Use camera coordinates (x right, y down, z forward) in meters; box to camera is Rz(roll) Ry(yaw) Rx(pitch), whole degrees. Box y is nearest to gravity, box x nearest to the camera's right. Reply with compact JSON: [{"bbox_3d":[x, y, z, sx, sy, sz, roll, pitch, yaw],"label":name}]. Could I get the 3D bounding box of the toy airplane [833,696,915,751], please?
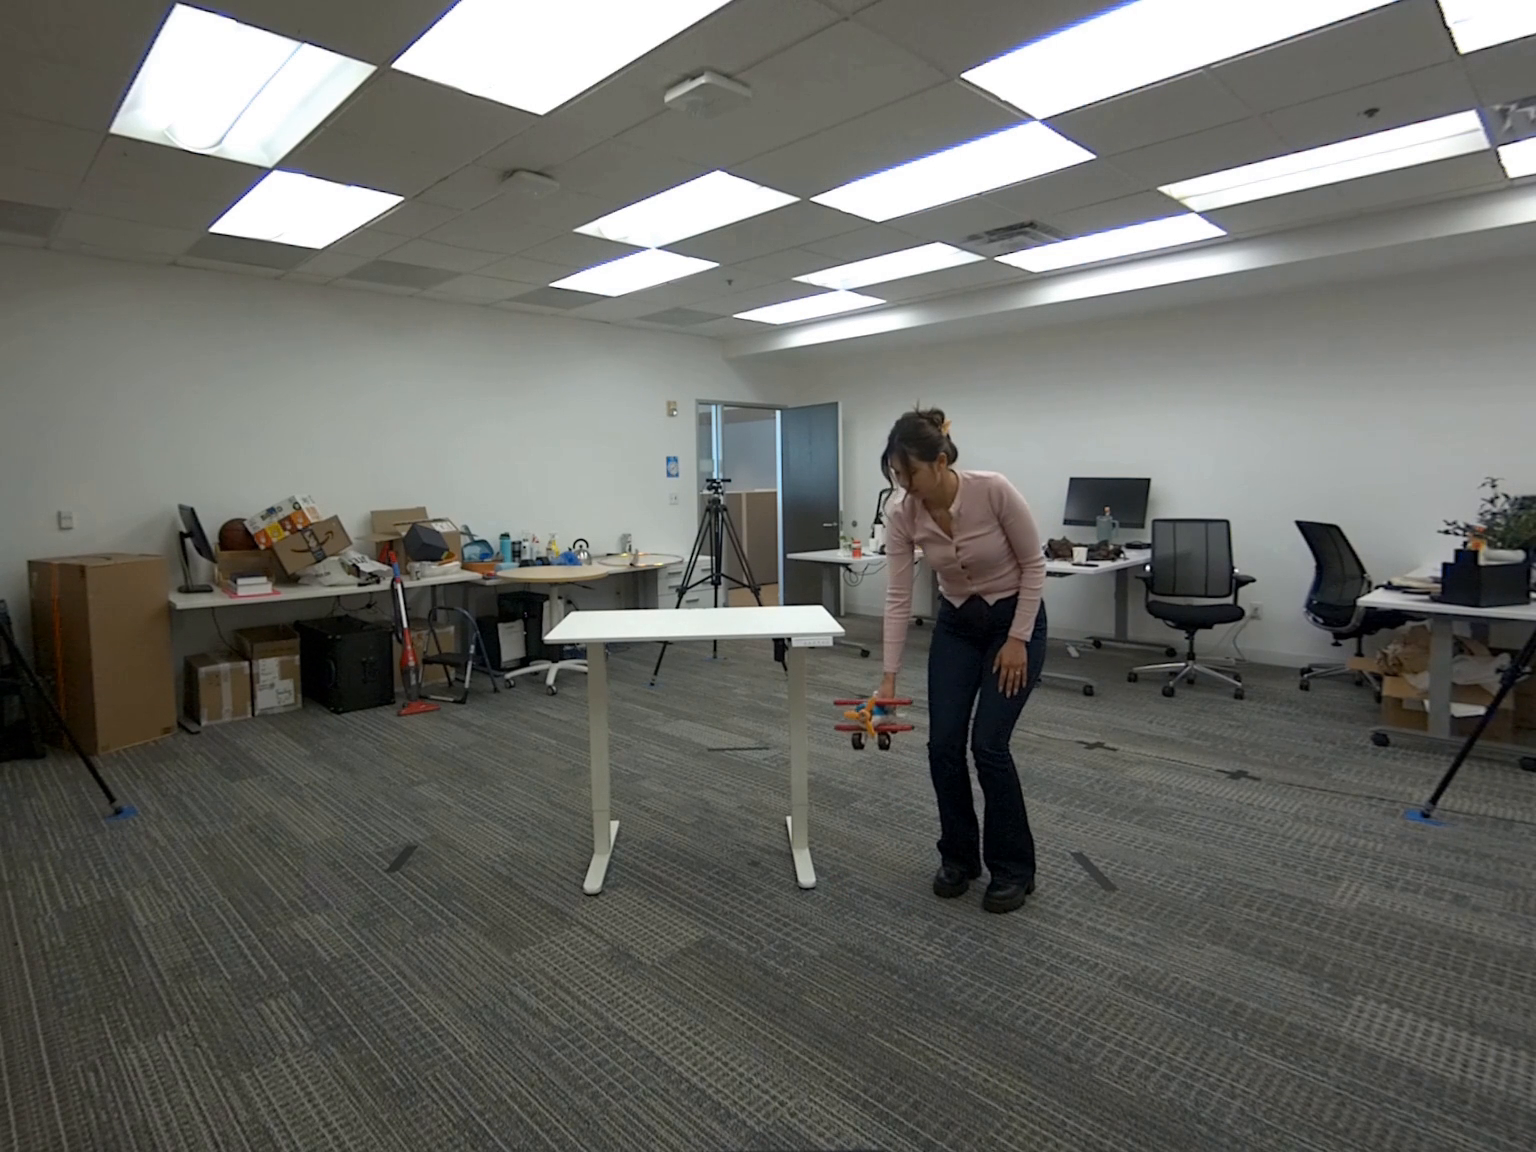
[{"bbox_3d":[0.341,0.463,2.742,0.251,0.156,0.261,-6,6,-1],"label":"toy airplane"}]
